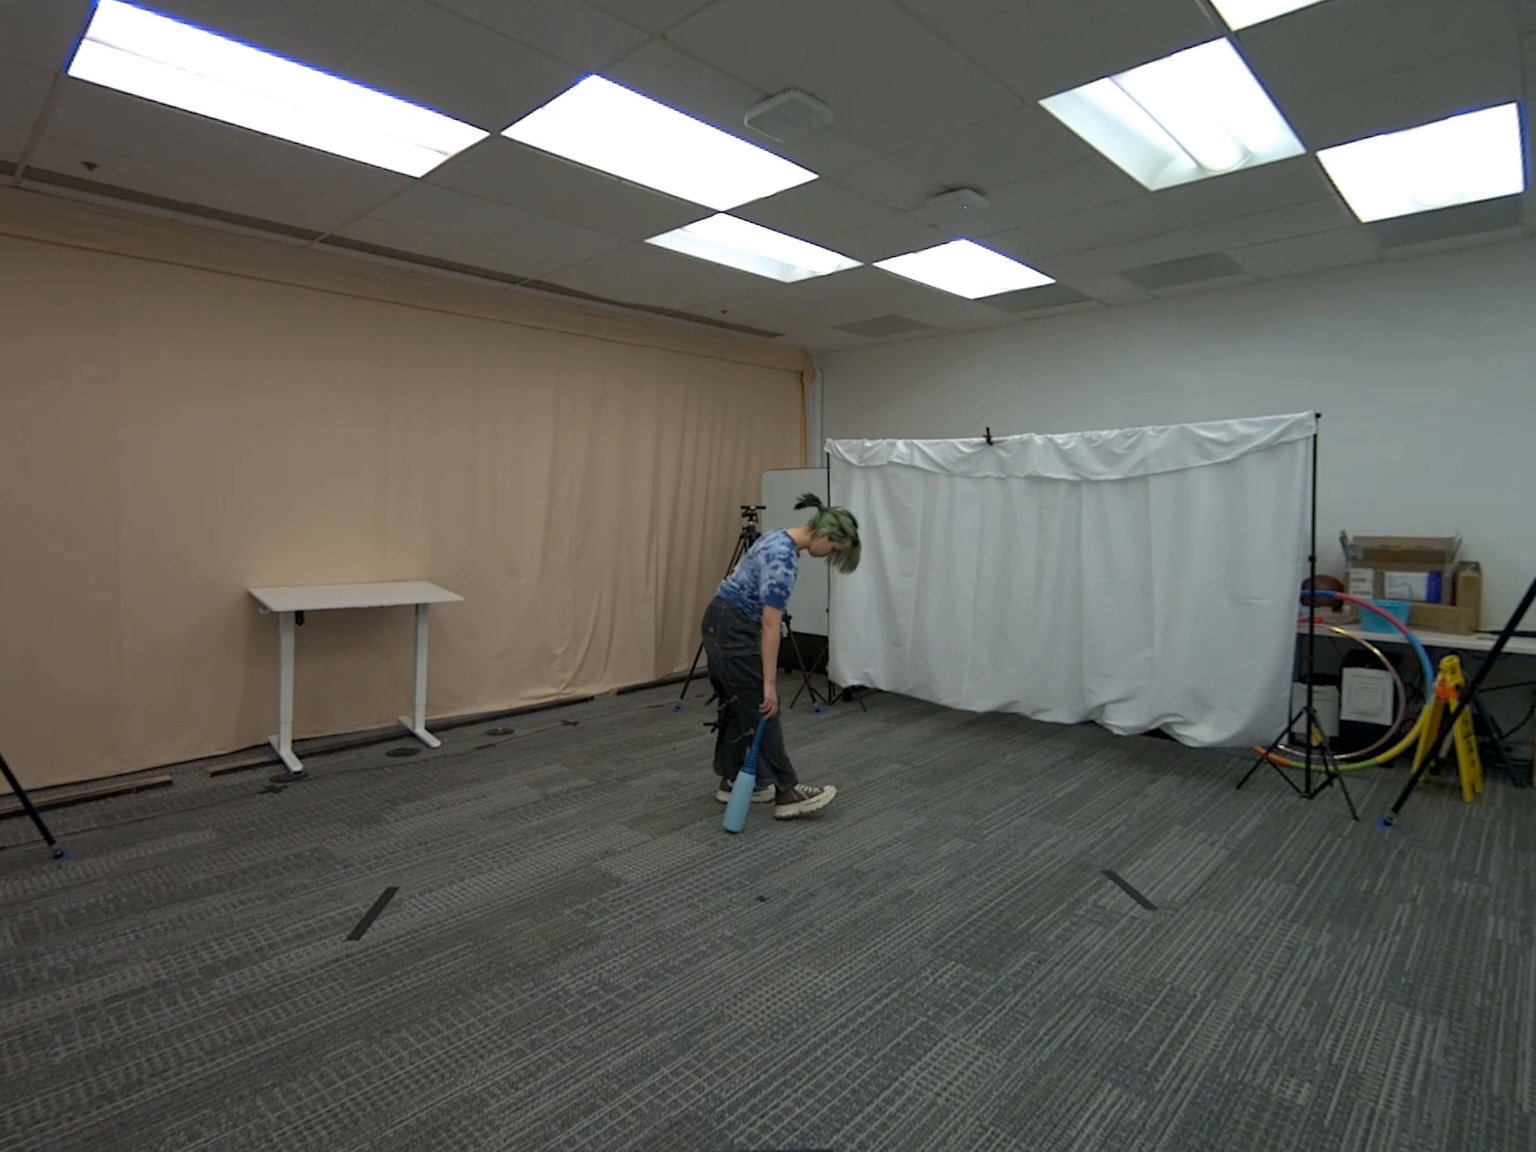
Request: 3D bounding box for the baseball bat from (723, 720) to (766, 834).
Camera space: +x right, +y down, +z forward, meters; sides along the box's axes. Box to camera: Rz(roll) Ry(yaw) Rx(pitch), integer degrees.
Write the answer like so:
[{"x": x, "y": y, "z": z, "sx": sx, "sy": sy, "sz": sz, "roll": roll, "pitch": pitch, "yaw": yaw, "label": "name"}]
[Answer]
[{"x": -0.085, "y": 0.825, "z": 3.625, "sx": 0.089, "sy": 0.544, "sz": 0.089, "roll": 17, "pitch": -6, "yaw": 0, "label": "baseball bat"}]
